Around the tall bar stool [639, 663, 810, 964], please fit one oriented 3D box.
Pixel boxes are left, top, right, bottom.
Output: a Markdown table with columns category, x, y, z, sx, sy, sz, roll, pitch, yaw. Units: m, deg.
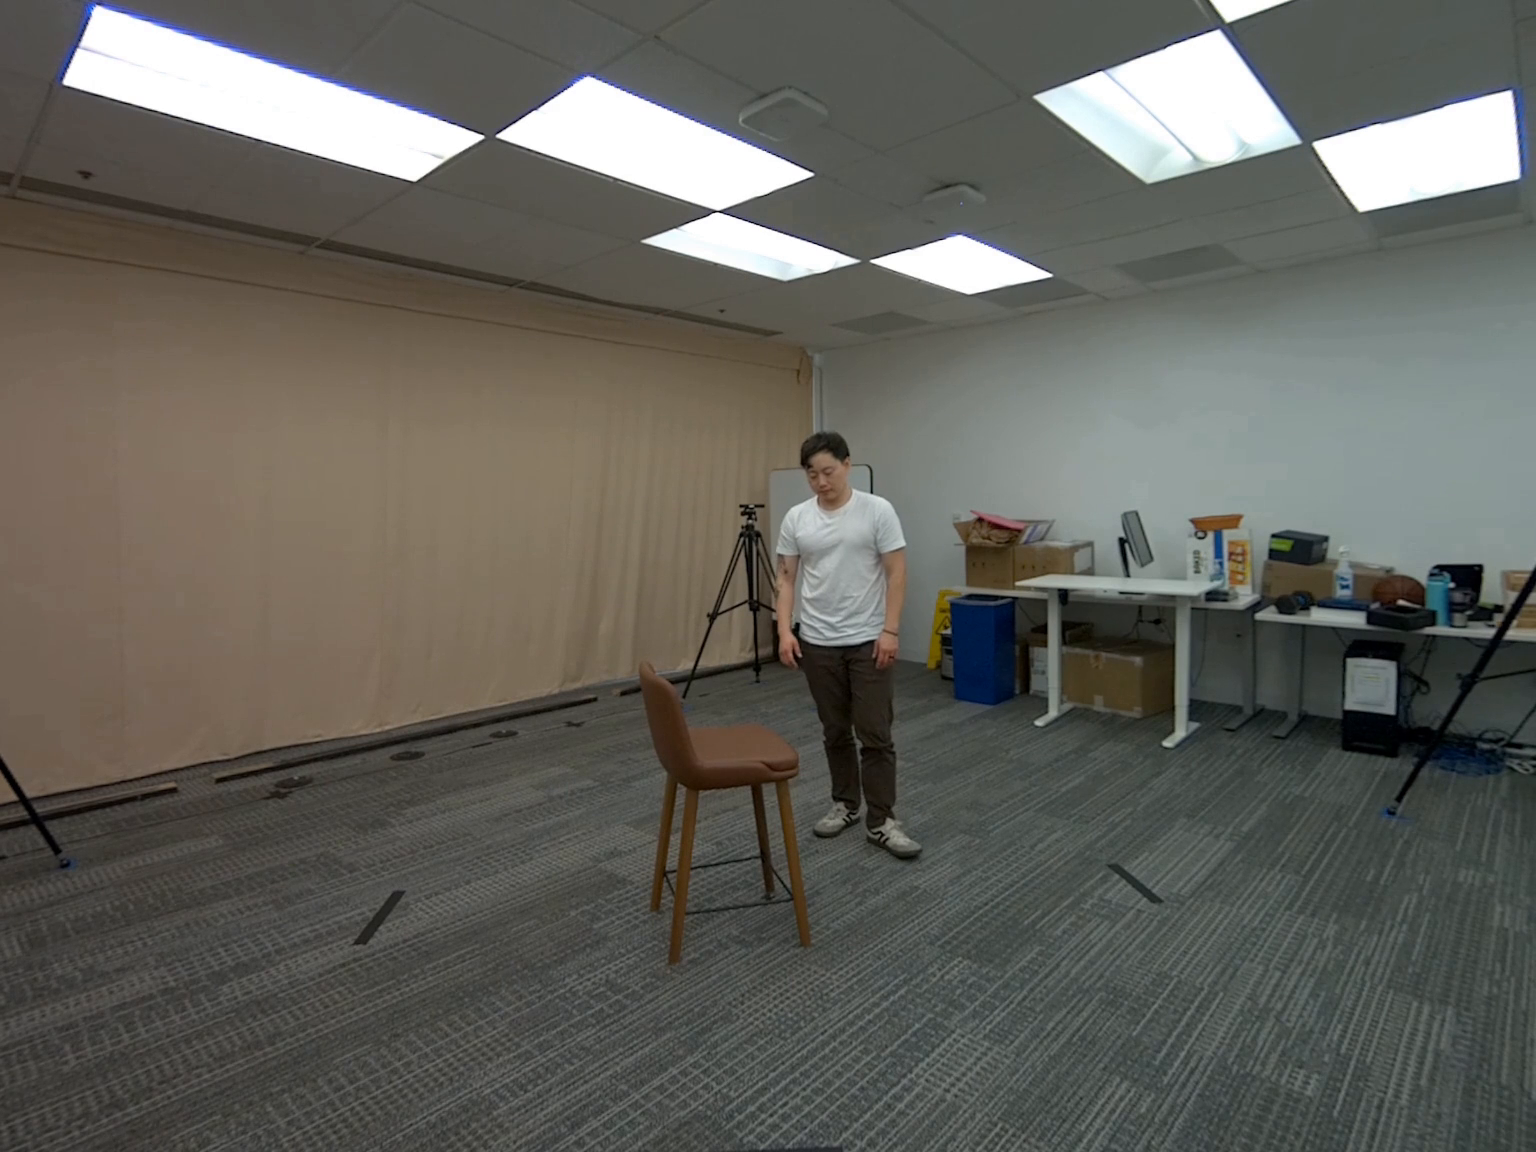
| category | x | y | z | sx | sy | sz | roll | pitch | yaw |
| --- | --- | --- | --- | --- | --- | --- | --- | --- | --- |
| tall bar stool | -0.149 | 0.724 | 2.766 | 0.460 | 0.887 | 0.465 | -4 | 4 | -16 |
